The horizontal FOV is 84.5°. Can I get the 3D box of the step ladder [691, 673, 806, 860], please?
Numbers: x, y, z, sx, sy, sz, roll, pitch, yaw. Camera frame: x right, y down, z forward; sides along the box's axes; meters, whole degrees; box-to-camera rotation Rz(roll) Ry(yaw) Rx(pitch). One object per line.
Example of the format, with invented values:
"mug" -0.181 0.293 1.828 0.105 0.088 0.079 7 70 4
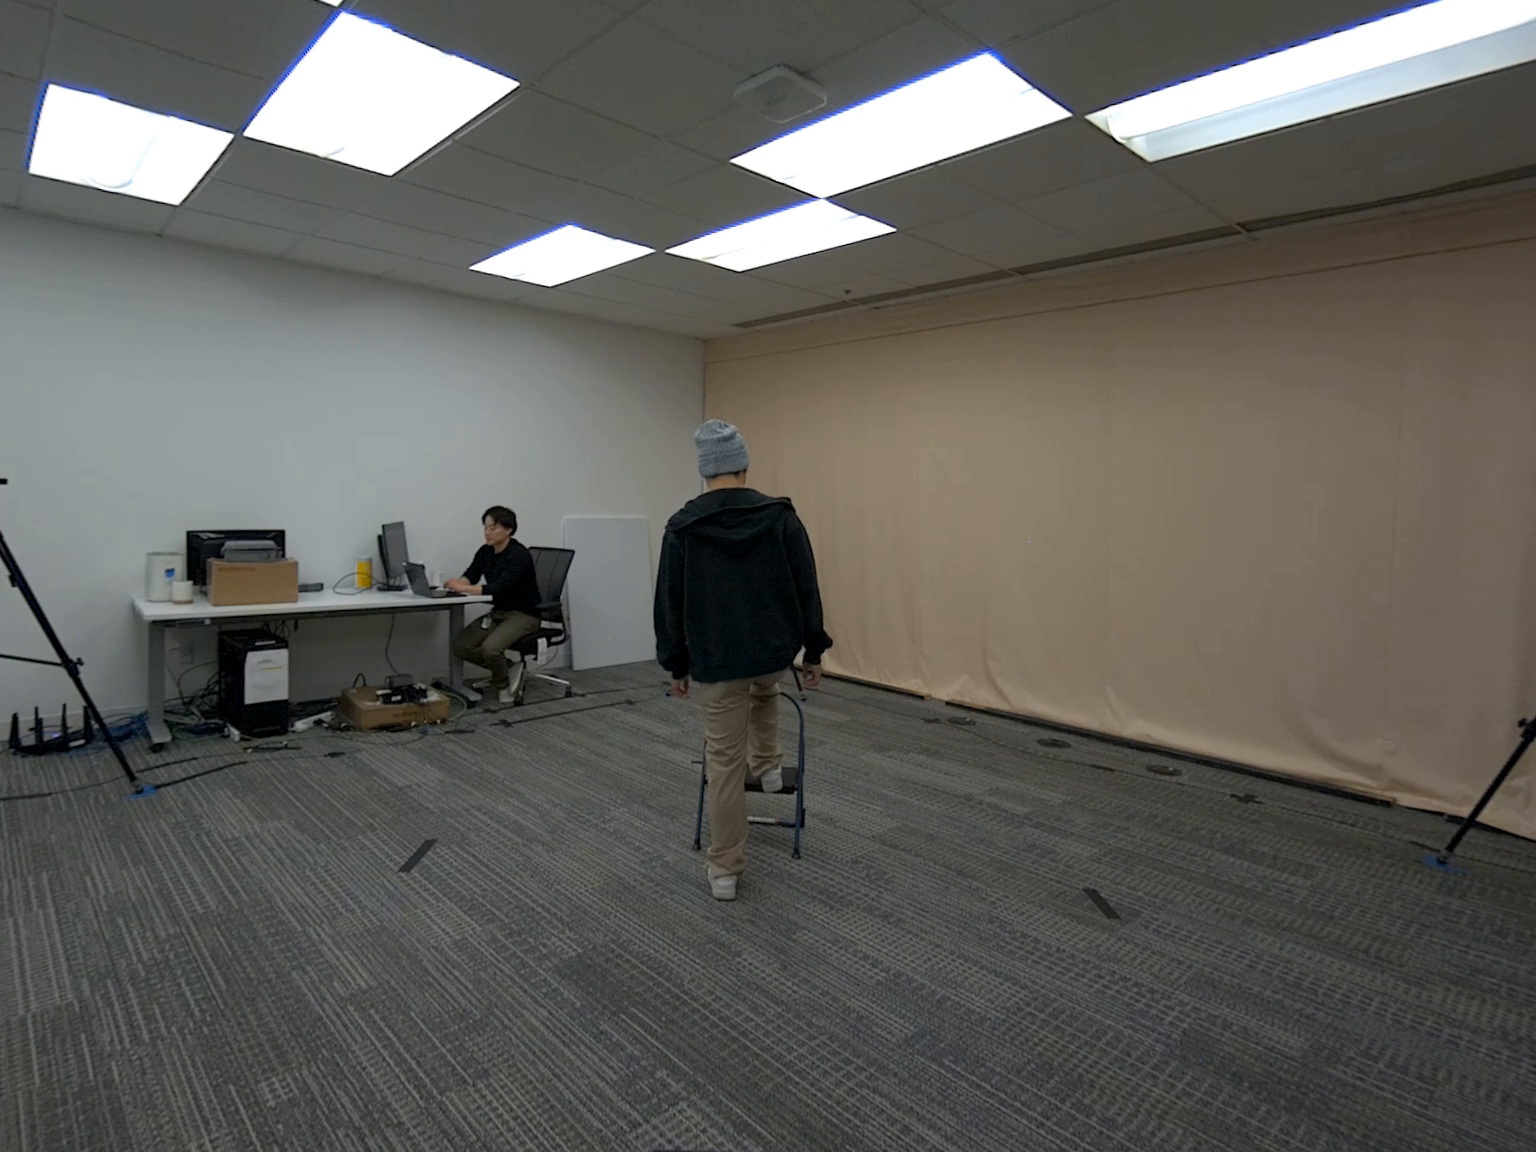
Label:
"step ladder" -0.064 0.779 3.455 0.433 0.605 0.348 2 3 7
